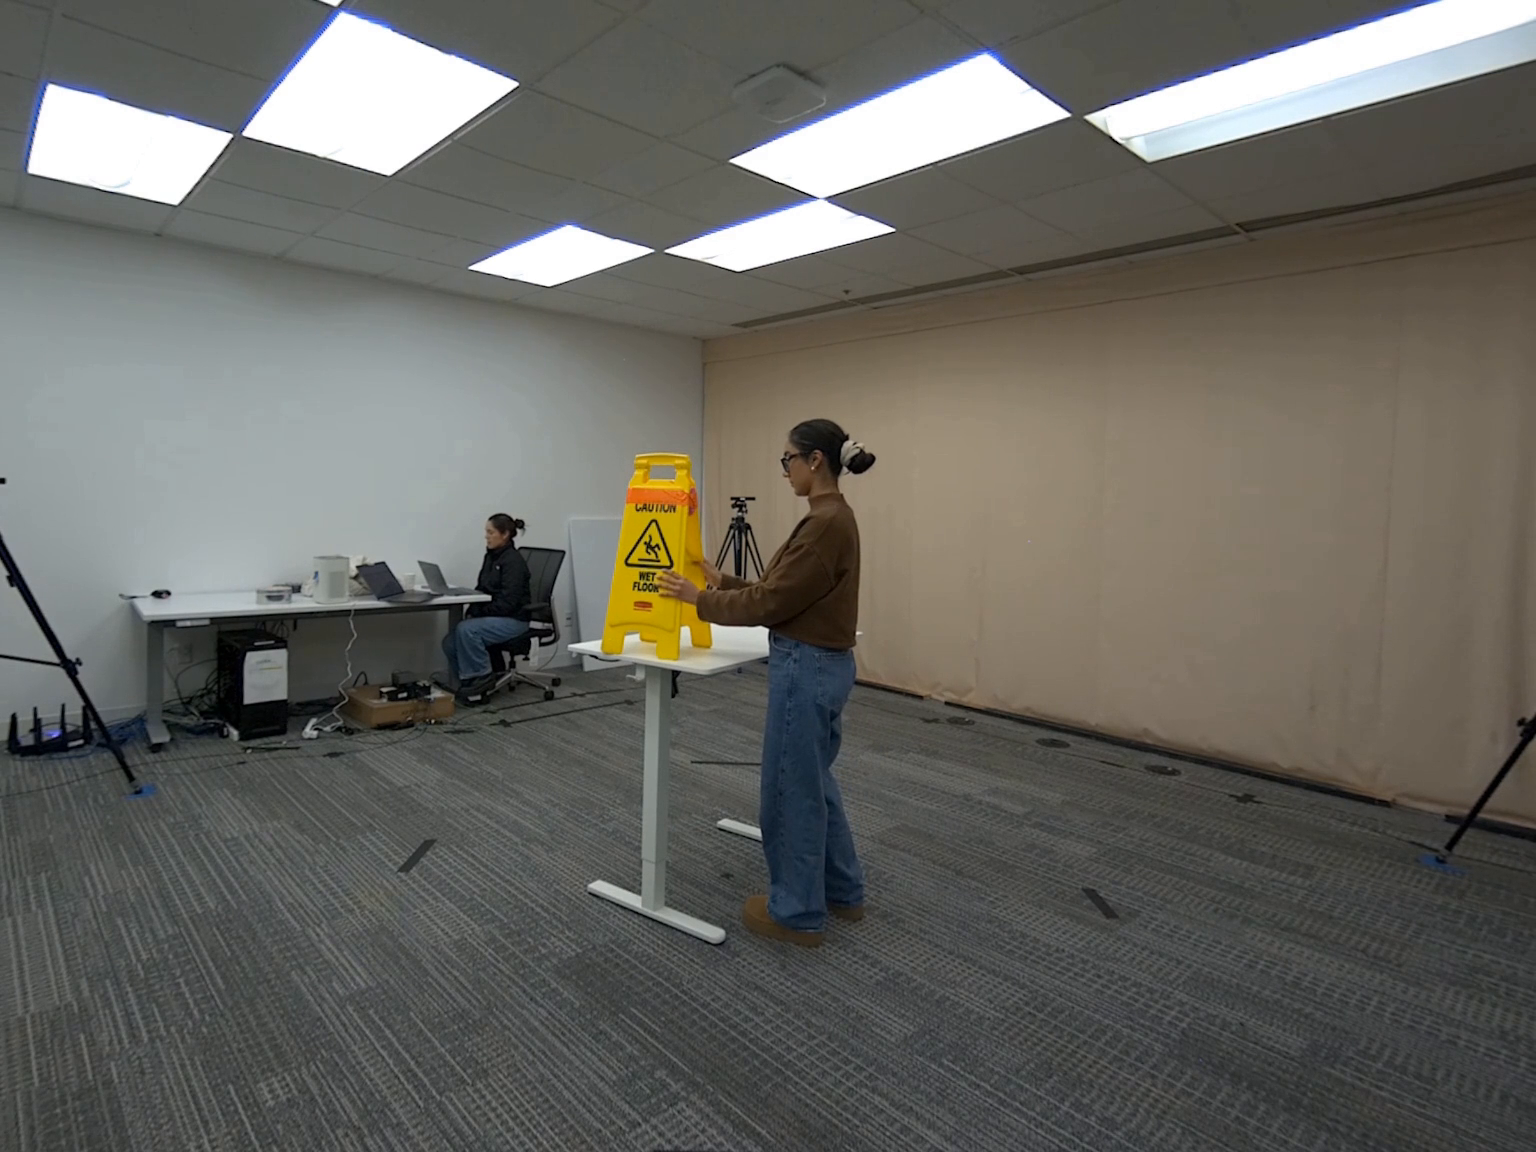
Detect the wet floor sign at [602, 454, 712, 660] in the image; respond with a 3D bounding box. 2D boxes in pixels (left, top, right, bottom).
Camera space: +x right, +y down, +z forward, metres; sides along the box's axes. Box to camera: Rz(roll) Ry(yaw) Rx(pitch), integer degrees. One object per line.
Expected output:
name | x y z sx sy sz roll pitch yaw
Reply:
wet floor sign | -0.362 -0.073 2.773 0.287 0.645 0.285 1 3 22
